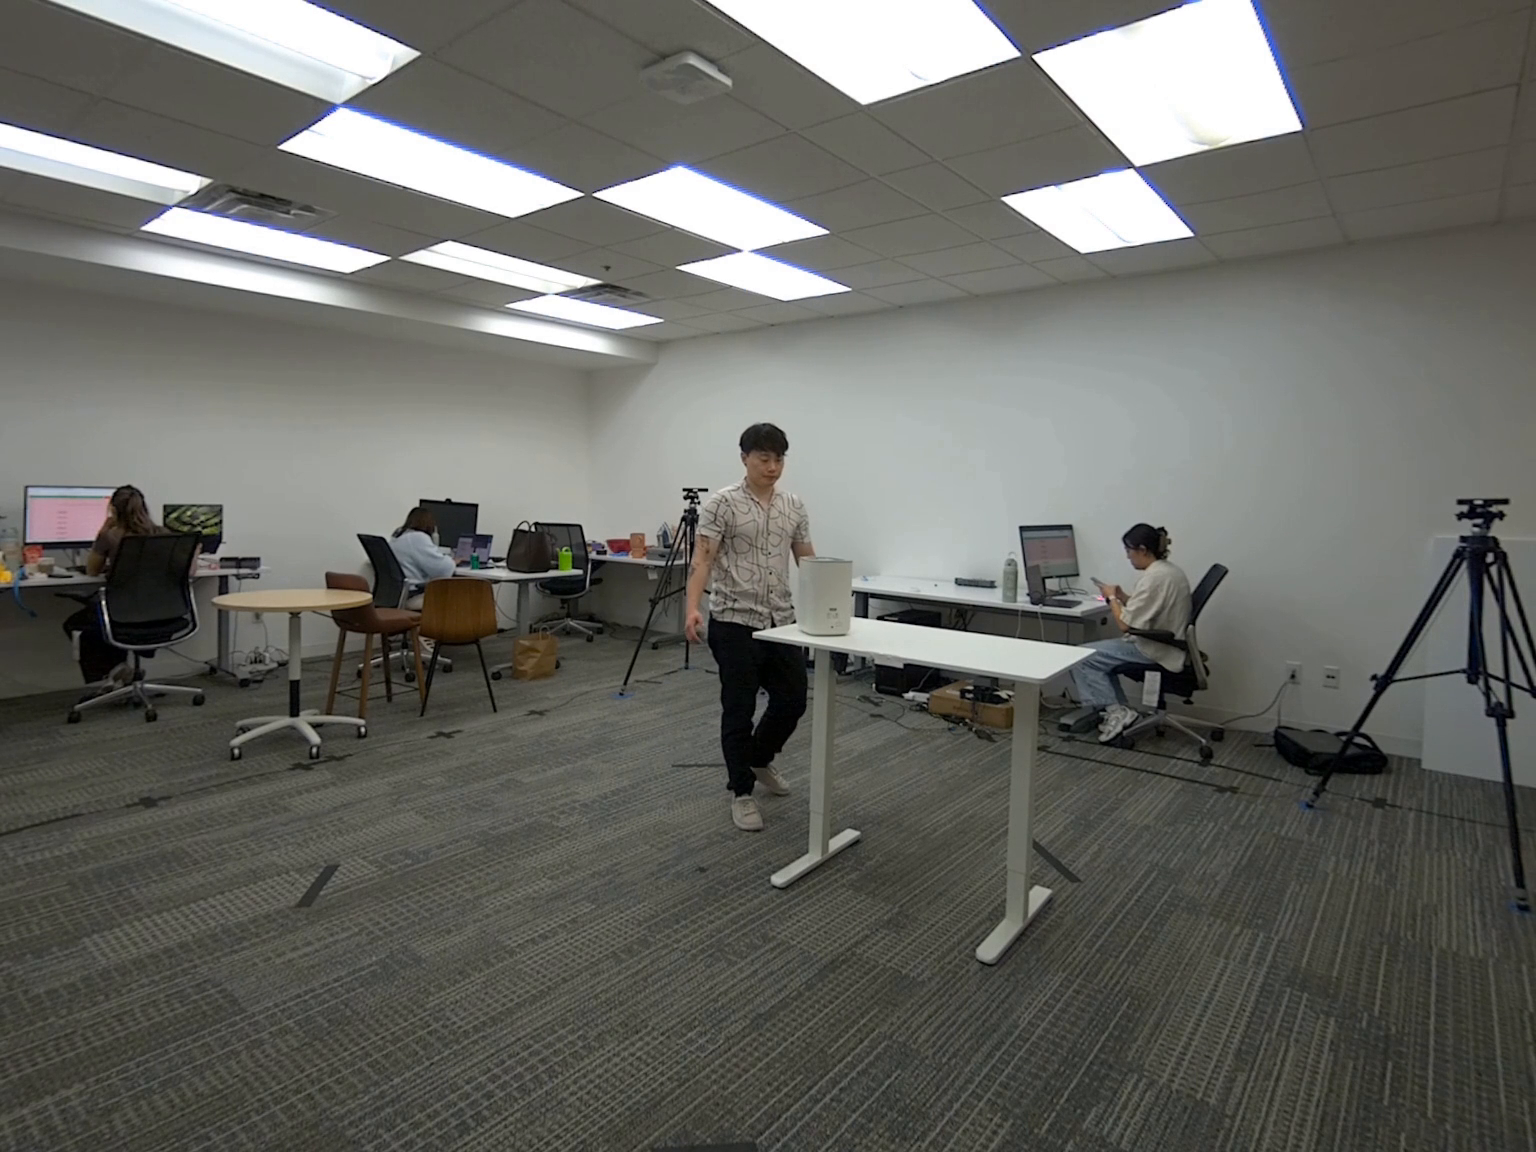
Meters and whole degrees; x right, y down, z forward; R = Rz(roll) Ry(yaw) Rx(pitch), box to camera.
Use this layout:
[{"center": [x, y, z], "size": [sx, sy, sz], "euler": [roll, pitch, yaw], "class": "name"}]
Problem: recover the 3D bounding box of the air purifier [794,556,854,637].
[{"center": [0.197, 0.069, 3.040], "size": [0.169, 0.265, 0.174], "euler": [1, 3, -12], "class": "air purifier"}]
